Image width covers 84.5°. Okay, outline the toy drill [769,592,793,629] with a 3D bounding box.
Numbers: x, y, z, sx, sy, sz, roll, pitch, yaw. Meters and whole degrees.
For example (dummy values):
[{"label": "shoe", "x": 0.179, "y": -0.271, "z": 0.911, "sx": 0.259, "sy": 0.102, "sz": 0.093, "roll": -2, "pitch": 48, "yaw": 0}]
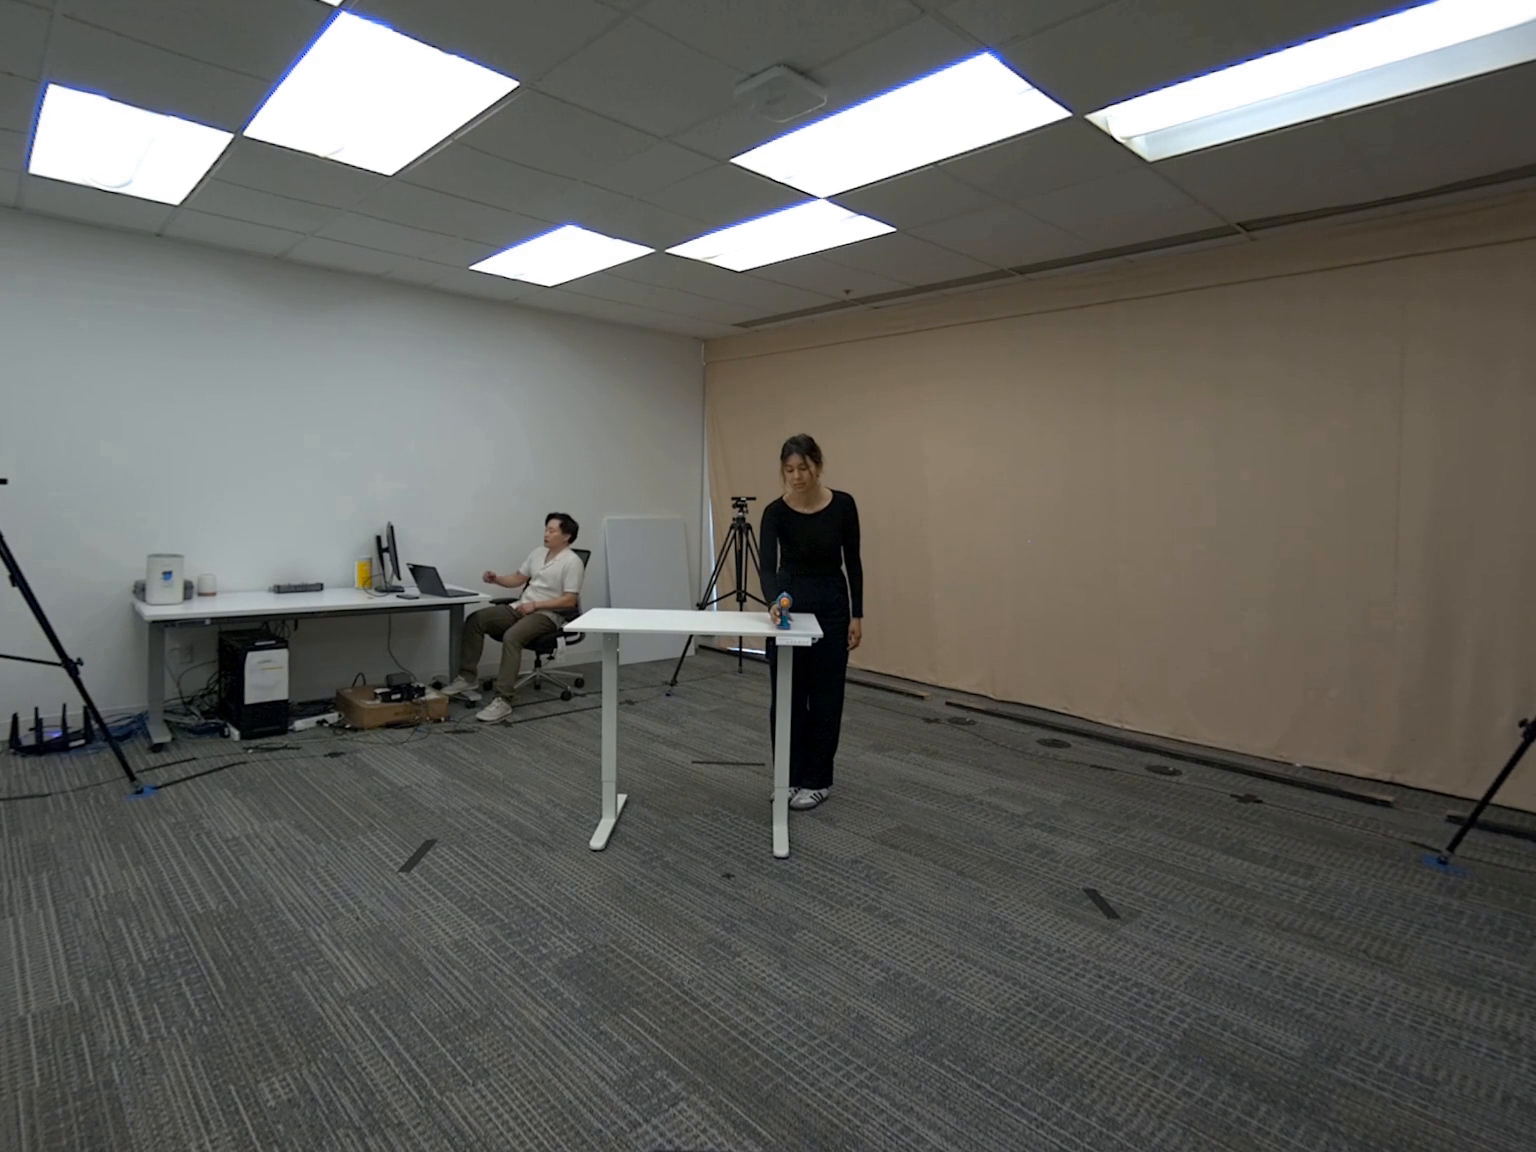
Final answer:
[{"label": "toy drill", "x": 0.048, "y": 0.139, "z": 3.285, "sx": 0.061, "sy": 0.146, "sz": 0.170, "roll": -4, "pitch": 4, "yaw": 1}]
